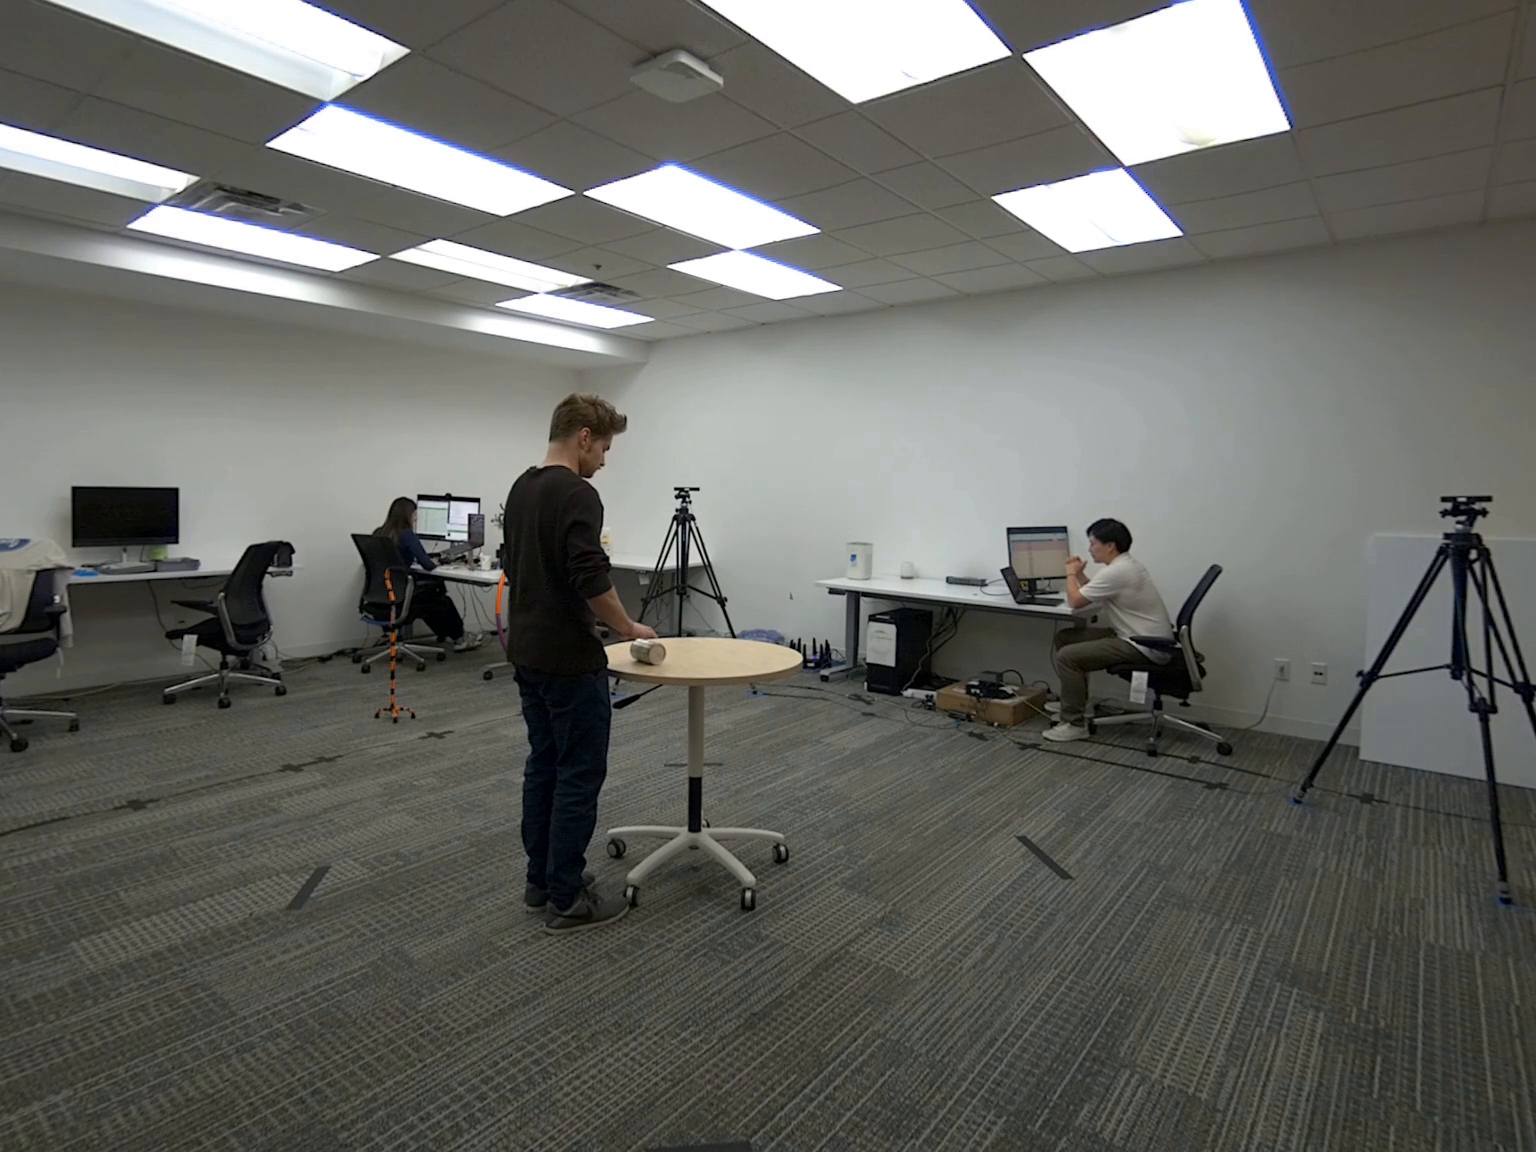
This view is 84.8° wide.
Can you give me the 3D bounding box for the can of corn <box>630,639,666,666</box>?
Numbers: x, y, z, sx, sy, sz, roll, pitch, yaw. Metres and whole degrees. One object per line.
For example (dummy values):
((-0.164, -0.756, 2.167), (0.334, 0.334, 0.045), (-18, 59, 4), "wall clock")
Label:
((-0.422, 0.258, 2.929), (0.072, 0.074, 0.115), (-2, 5, -37), "can of corn")
